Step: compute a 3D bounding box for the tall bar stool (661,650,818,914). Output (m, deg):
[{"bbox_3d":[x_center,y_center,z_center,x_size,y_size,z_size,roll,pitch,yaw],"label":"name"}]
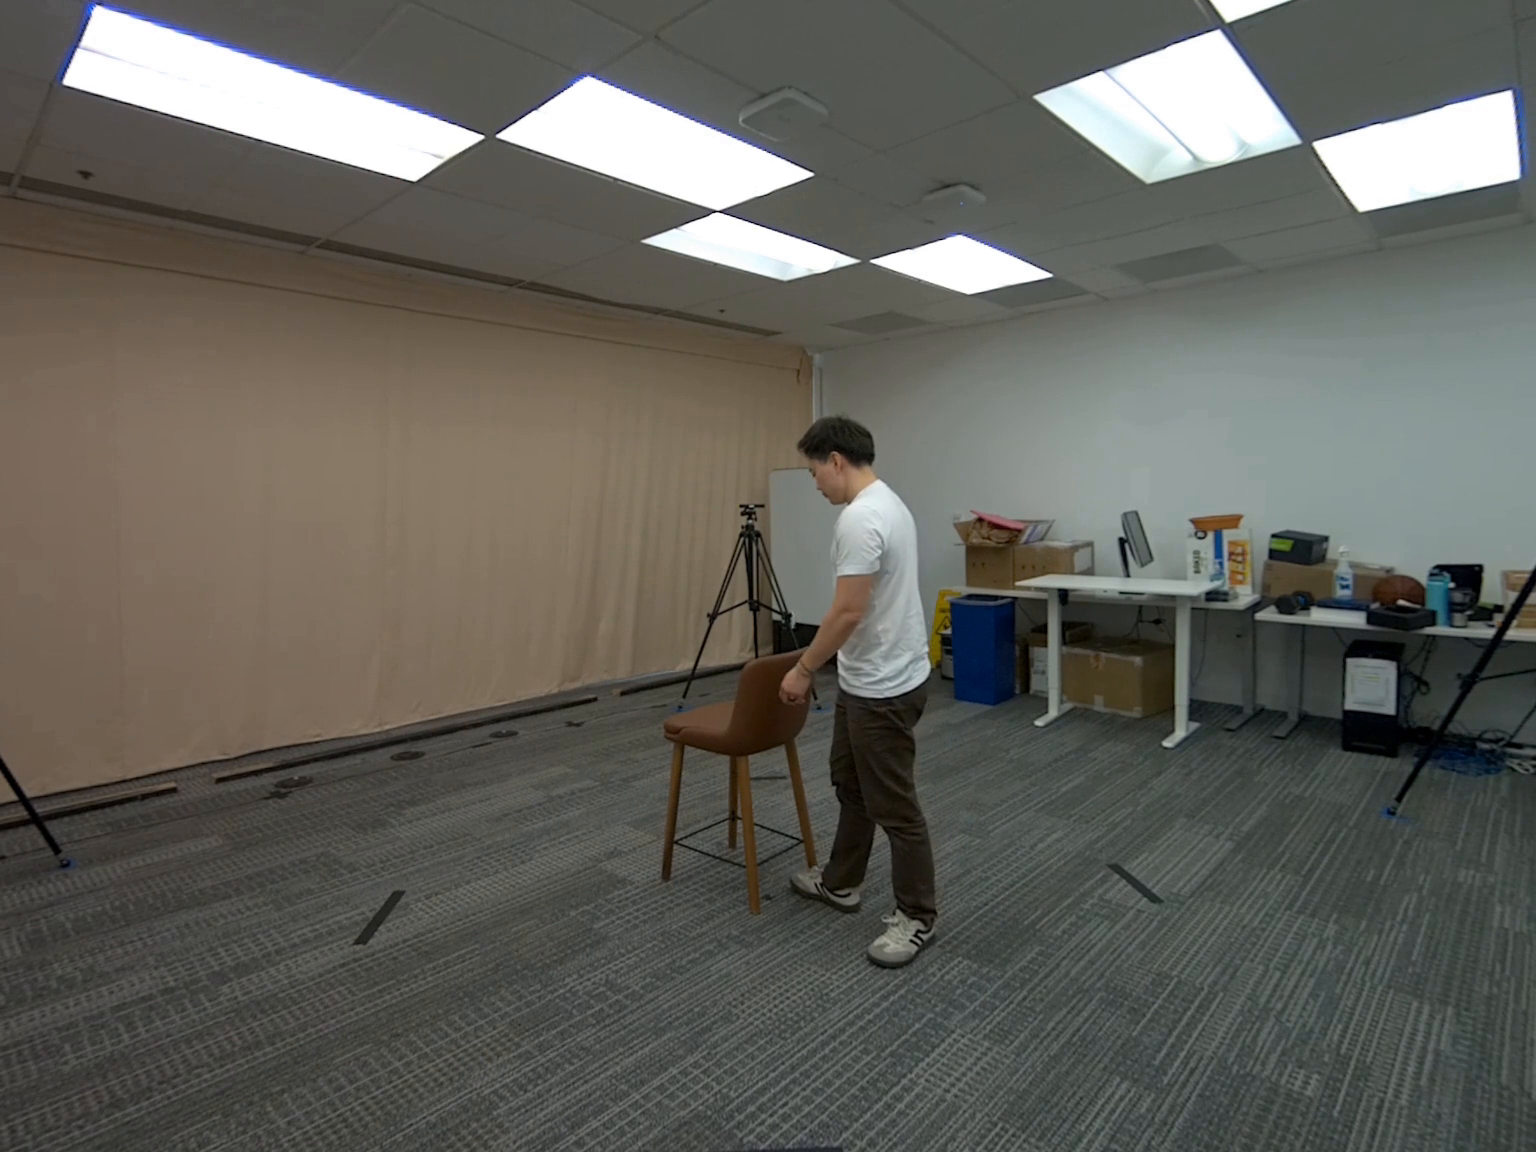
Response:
[{"bbox_3d":[-0.099,0.690,3.117,0.483,0.887,0.443,6,7,41],"label":"tall bar stool"}]
